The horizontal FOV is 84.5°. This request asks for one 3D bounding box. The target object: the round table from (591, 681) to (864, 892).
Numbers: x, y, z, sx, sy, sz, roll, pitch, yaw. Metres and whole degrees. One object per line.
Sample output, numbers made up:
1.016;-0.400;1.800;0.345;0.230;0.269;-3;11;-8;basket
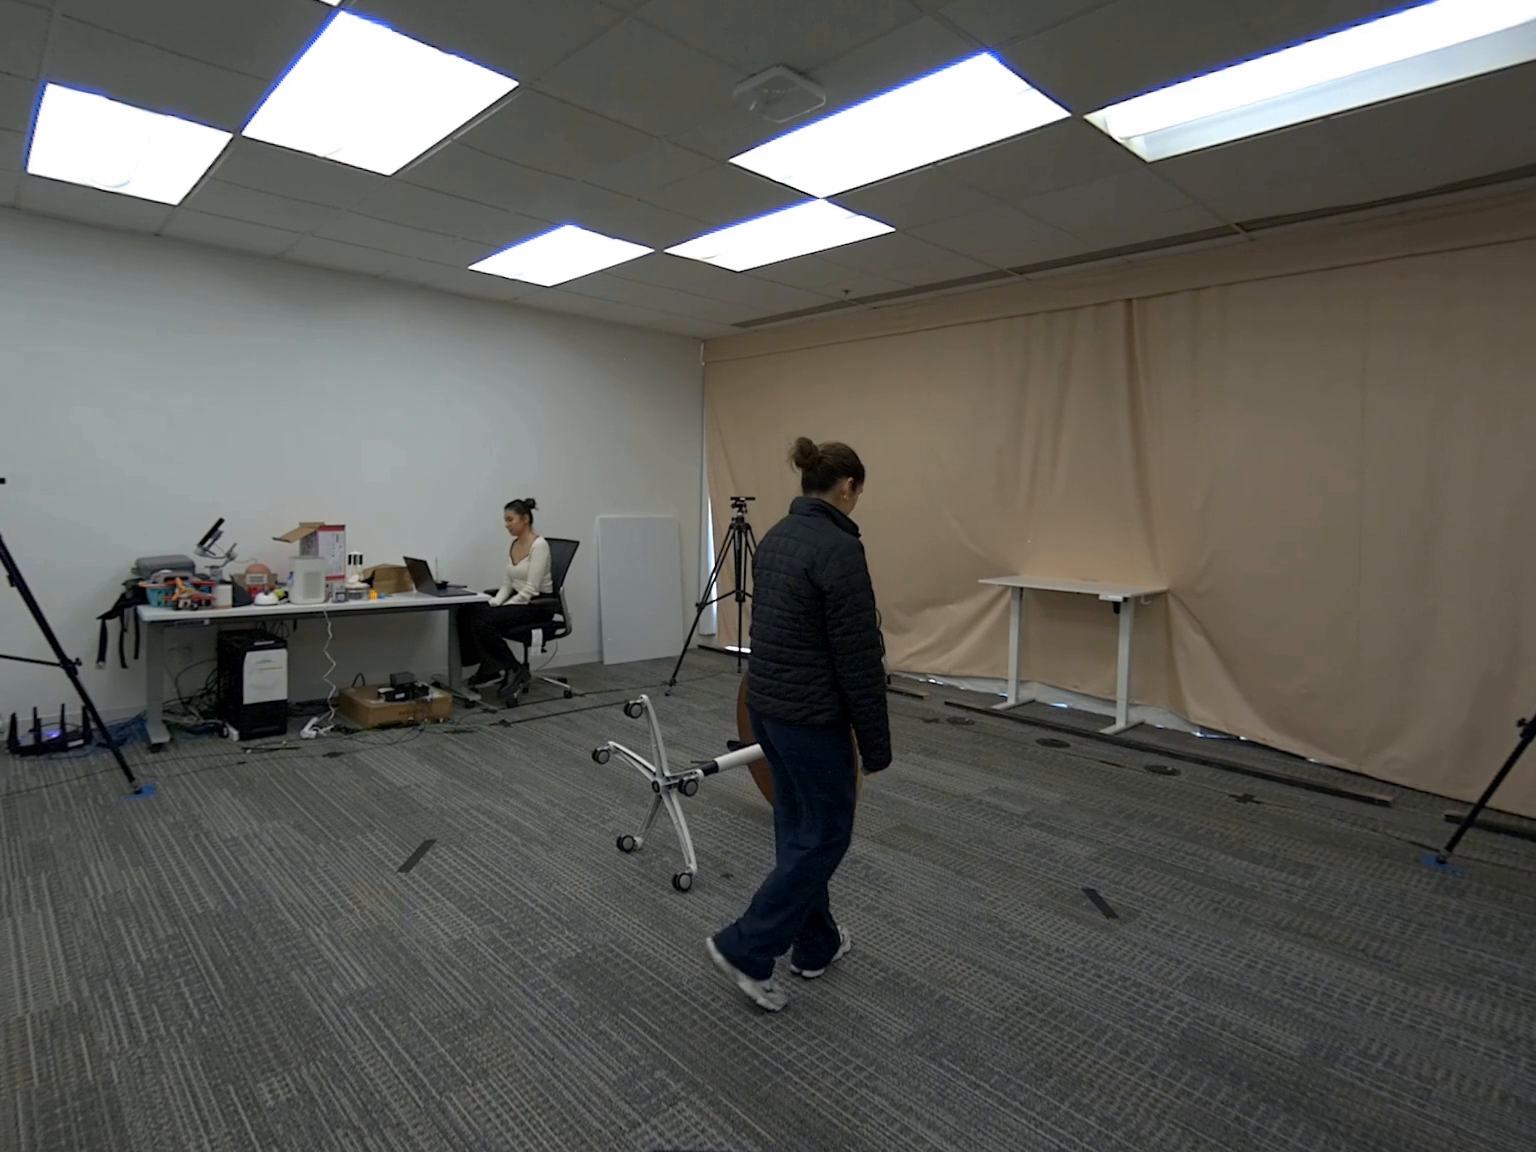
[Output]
-0.188;0.750;3.335;0.771;0.781;0.805;-9;9;-38;round table
